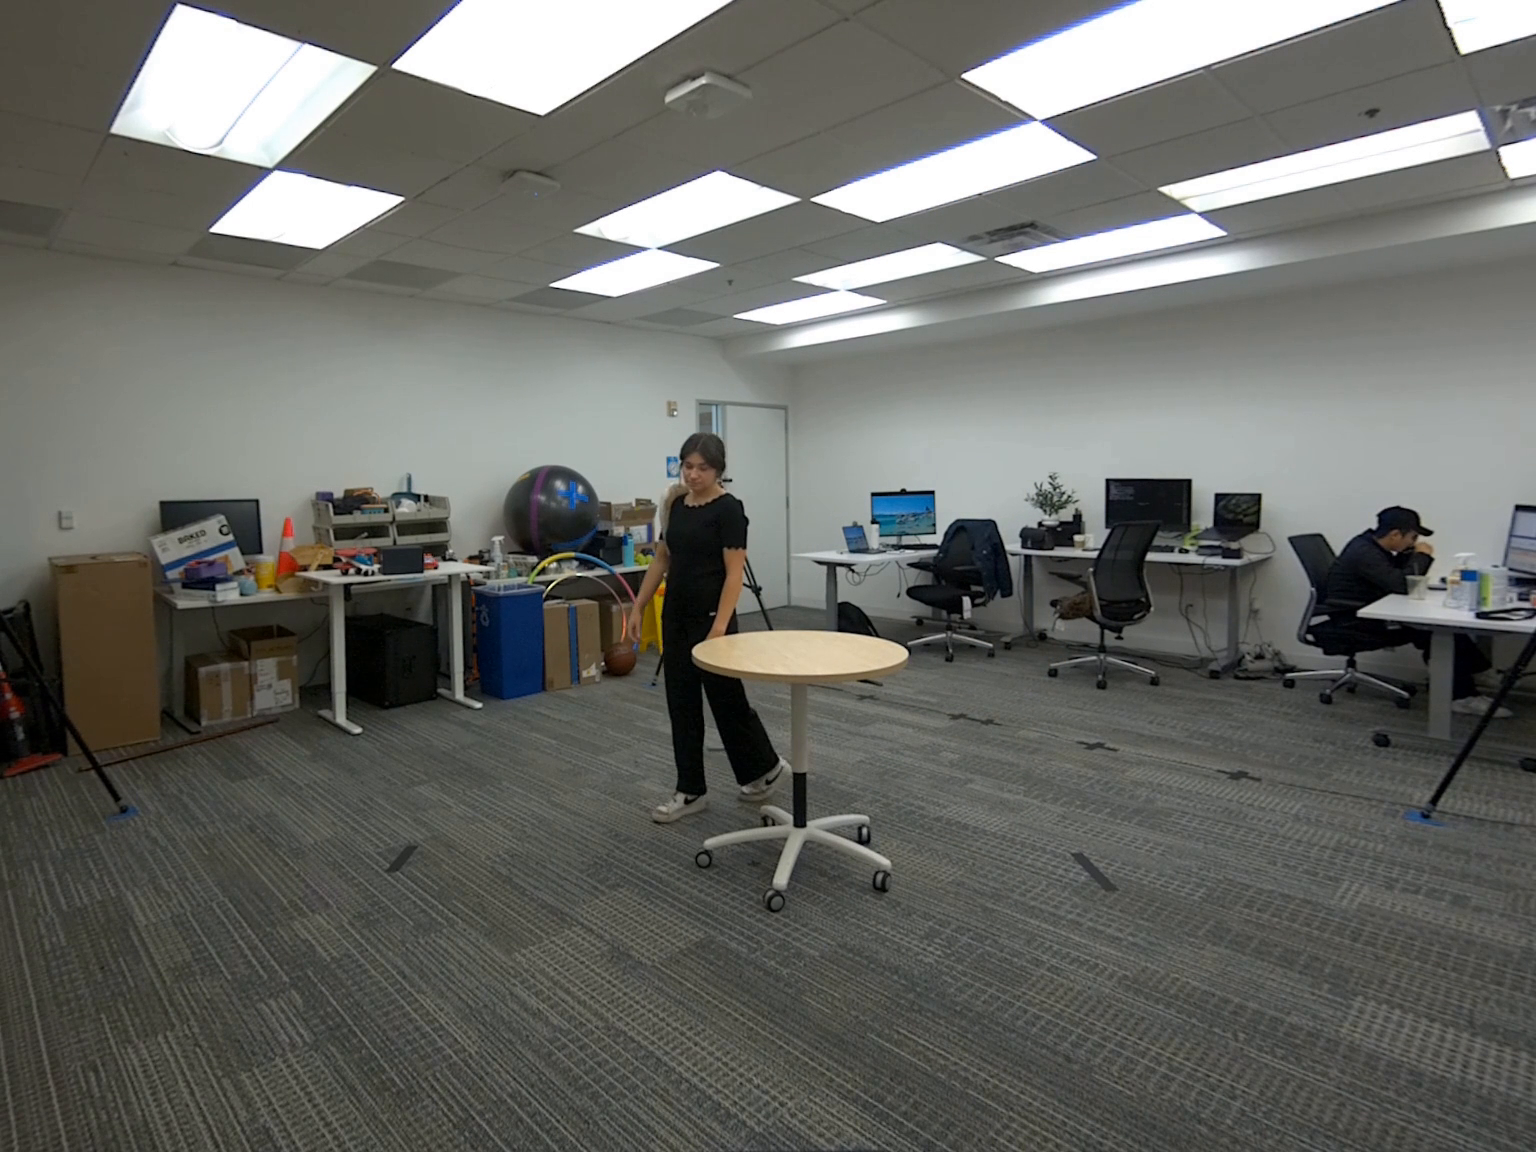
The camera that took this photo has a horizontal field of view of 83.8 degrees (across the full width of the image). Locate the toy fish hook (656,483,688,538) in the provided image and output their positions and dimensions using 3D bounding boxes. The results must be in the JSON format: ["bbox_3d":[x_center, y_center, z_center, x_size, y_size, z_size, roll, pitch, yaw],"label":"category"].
[{"bbox_3d":[-0.382,-0.161,3.695,0.050,0.500,0.220,13,19,37],"label":"toy fish hook"}]
